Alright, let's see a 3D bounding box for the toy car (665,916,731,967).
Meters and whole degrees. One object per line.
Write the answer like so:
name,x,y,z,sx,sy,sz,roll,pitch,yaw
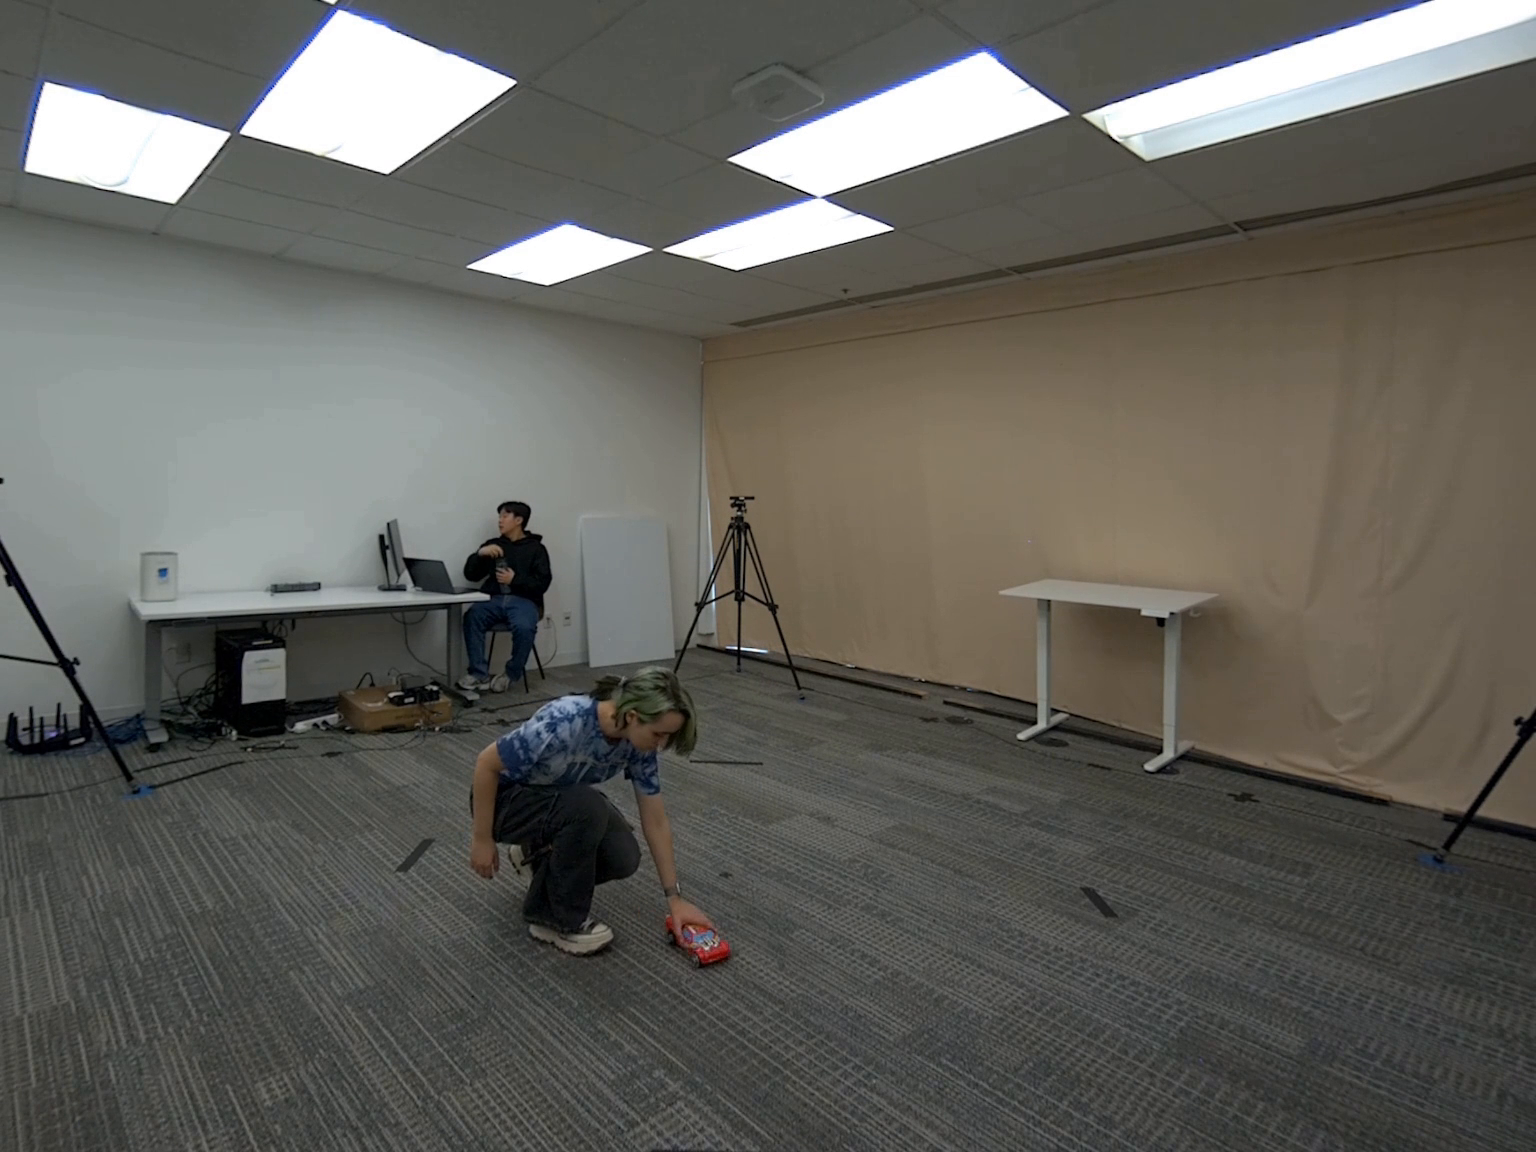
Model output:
toy car,-0.237,1.122,2.581,0.127,0.082,0.262,-3,16,-34
